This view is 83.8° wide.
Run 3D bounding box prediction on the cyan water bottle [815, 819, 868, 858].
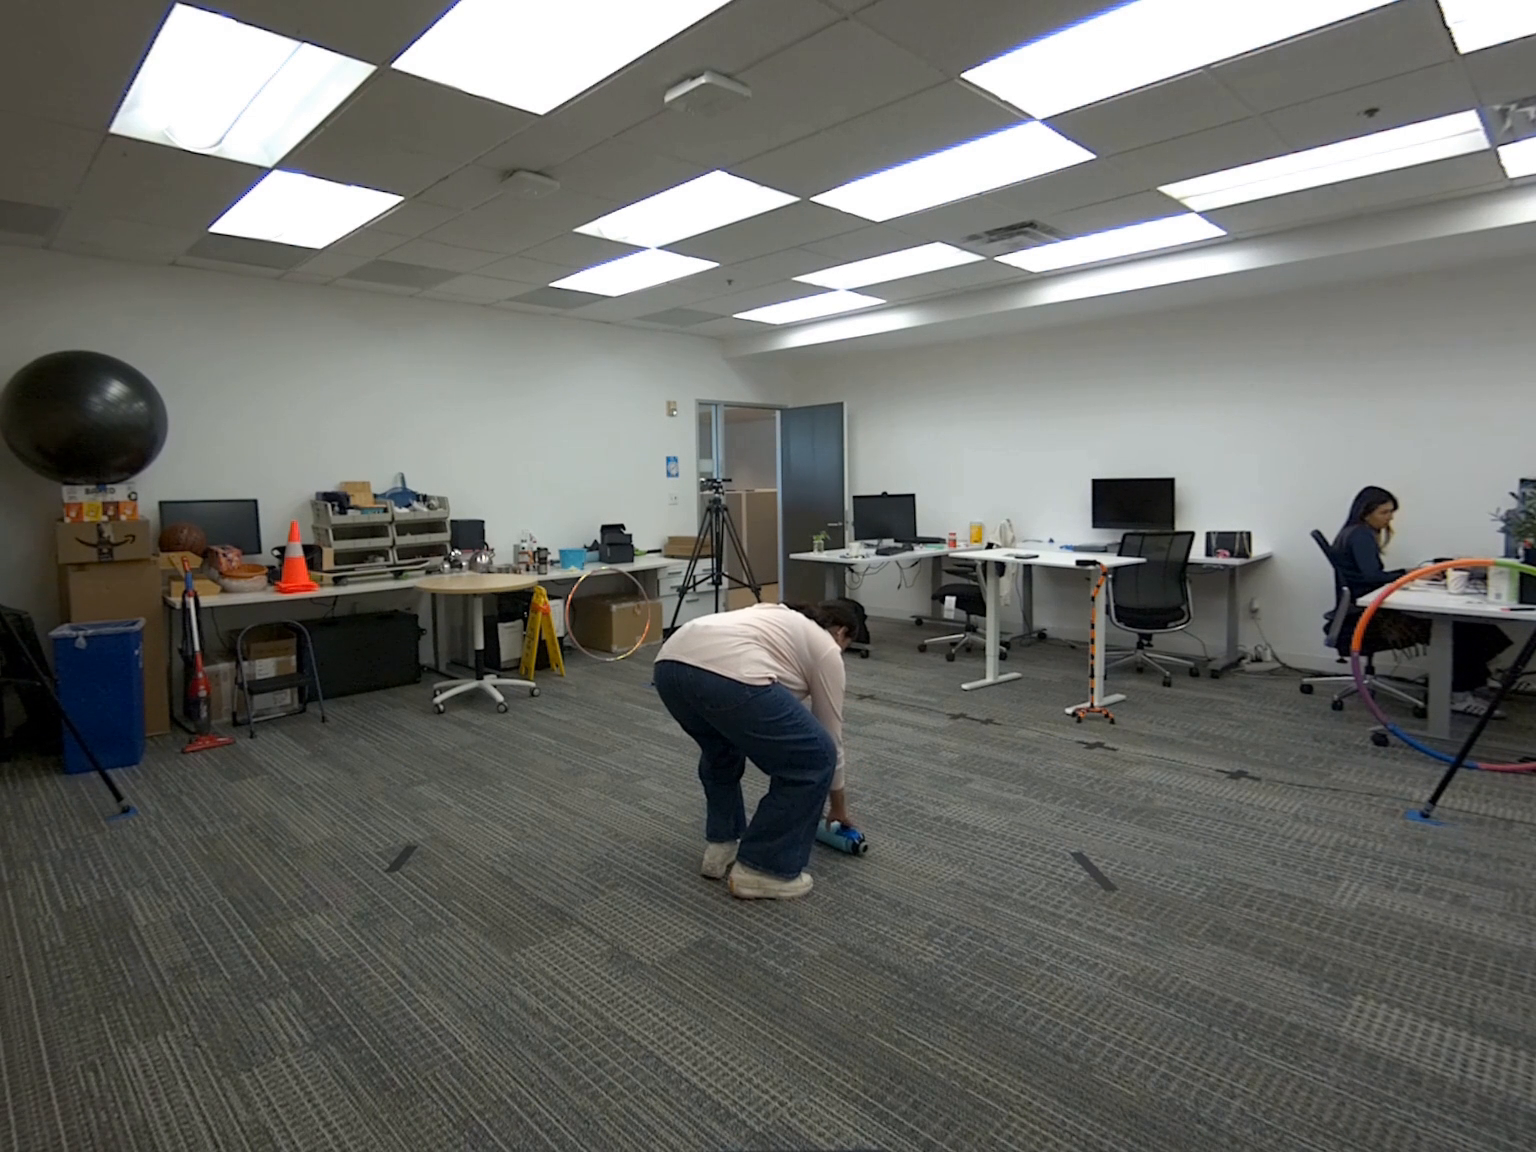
[{"bbox_3d":[0.248,0.977,3.243,0.090,0.092,0.292,-5,9,-41],"label":"cyan water bottle"}]
